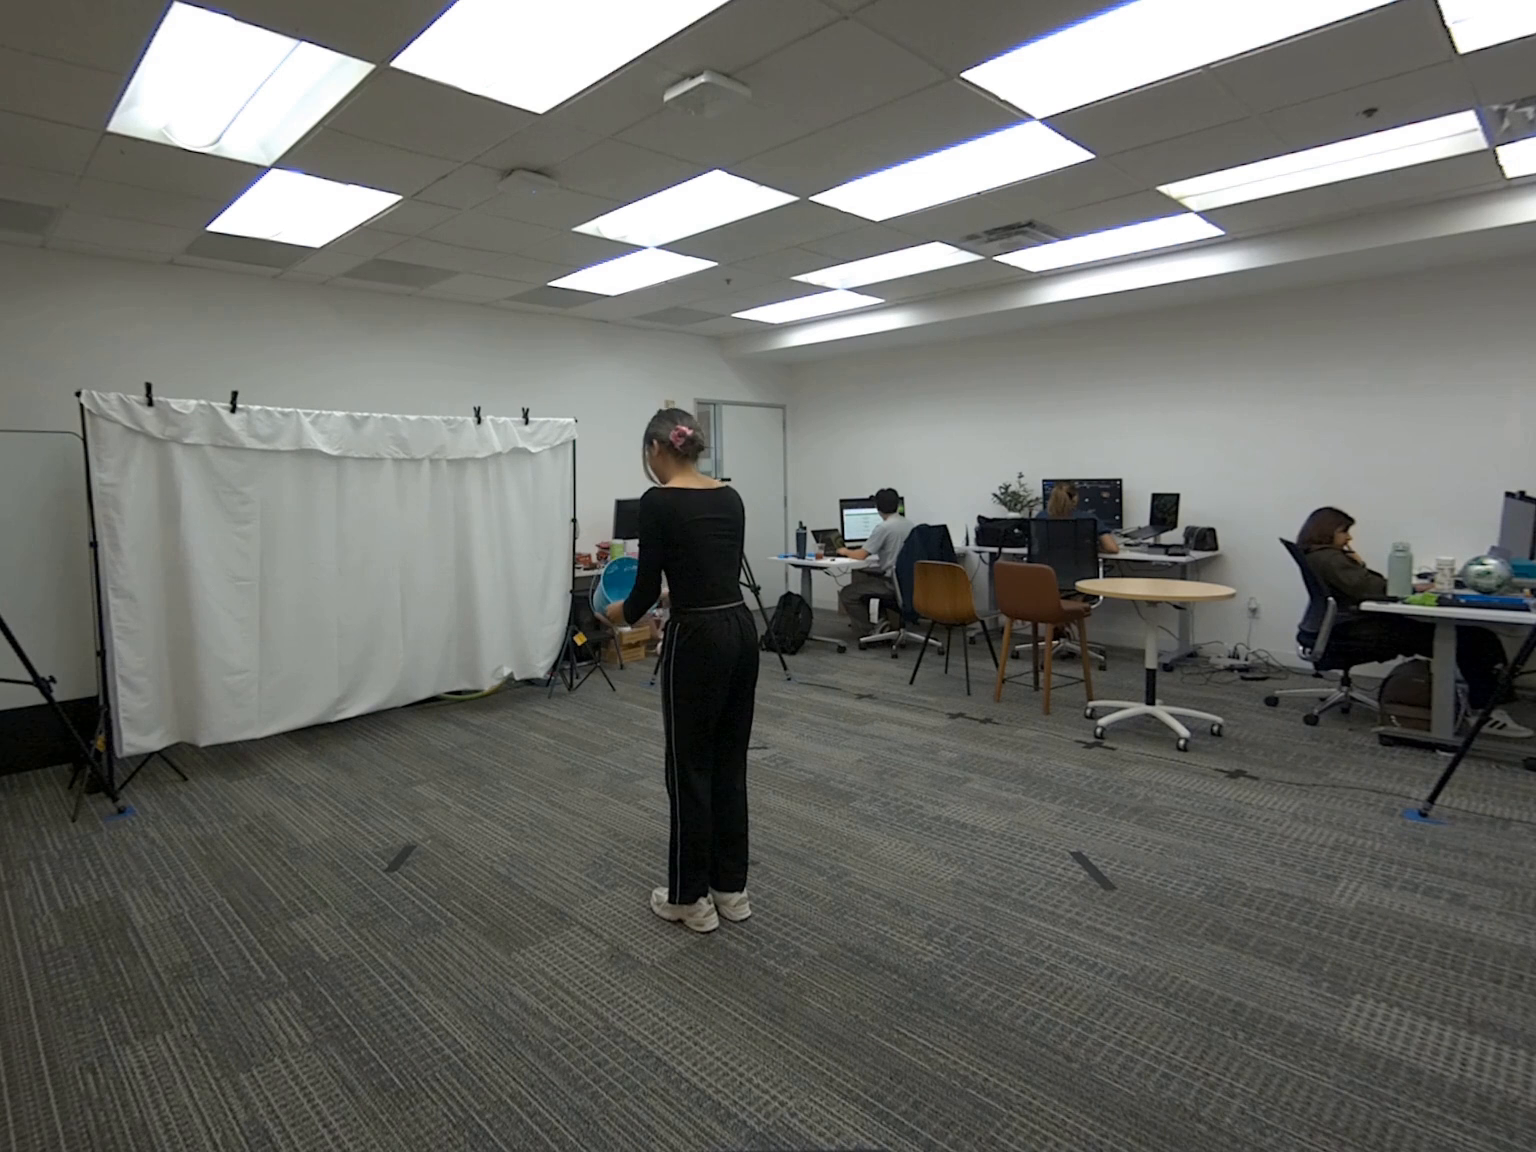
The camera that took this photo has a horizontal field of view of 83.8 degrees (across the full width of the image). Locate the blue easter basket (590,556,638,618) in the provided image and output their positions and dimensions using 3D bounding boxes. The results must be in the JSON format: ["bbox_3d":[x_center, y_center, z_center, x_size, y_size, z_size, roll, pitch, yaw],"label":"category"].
[{"bbox_3d":[-0.507,0.076,3.044,0.237,0.249,0.156,-4,-24,-33],"label":"blue easter basket"}]
